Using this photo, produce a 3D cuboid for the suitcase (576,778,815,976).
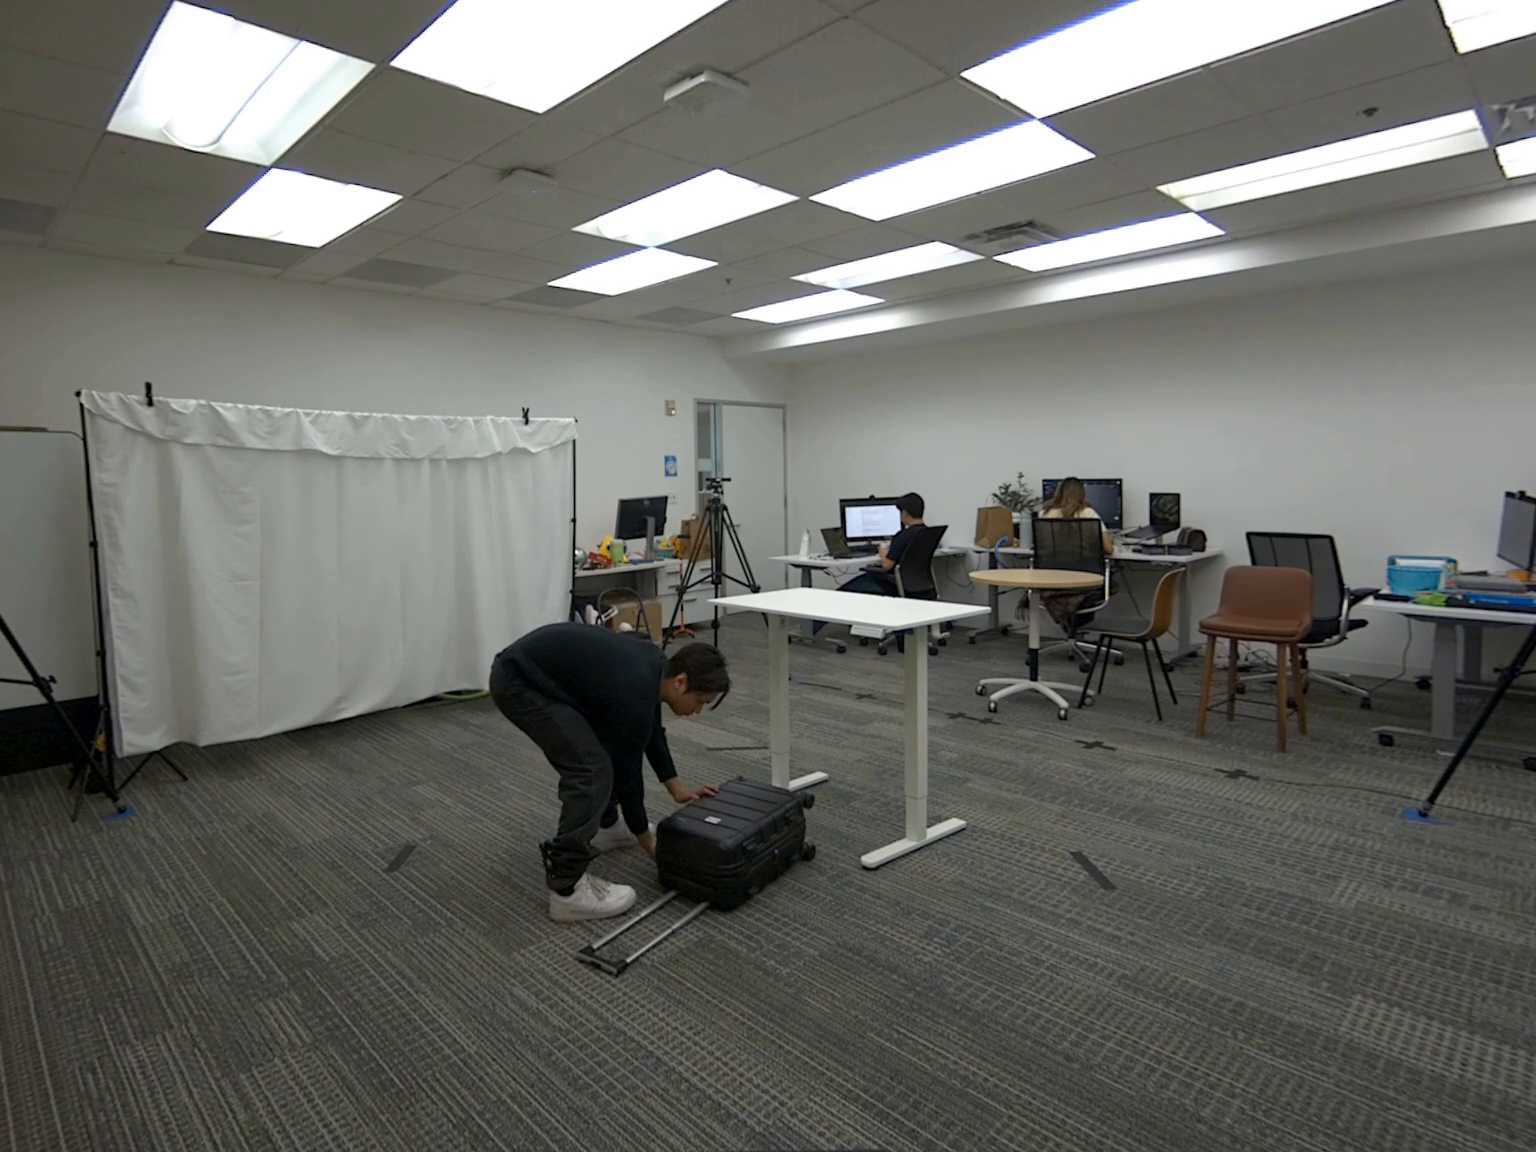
[{"bbox_3d":[-0.235,0.941,2.848,0.395,0.255,0.955,5,9,35],"label":"suitcase"}]
